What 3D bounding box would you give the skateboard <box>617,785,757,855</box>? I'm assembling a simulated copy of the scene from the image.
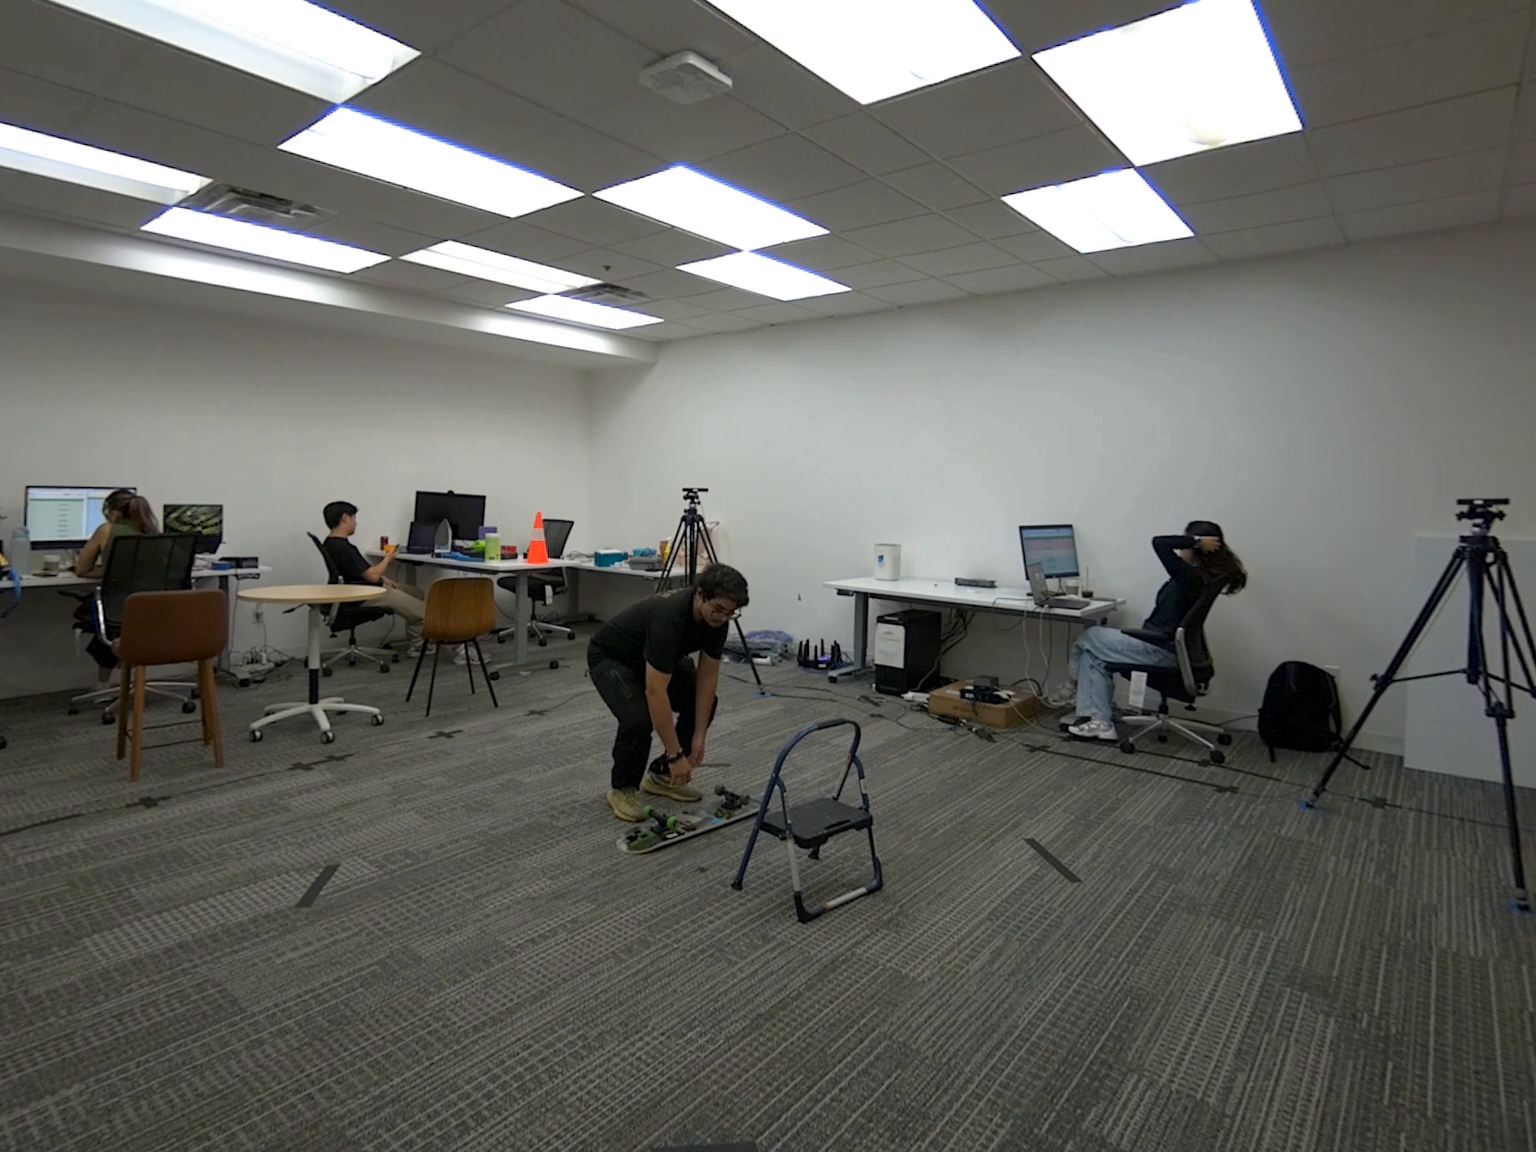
[{"bbox_3d":[-0.300,0.981,3.519,0.200,0.110,0.762,5,7,45],"label":"skateboard"}]
